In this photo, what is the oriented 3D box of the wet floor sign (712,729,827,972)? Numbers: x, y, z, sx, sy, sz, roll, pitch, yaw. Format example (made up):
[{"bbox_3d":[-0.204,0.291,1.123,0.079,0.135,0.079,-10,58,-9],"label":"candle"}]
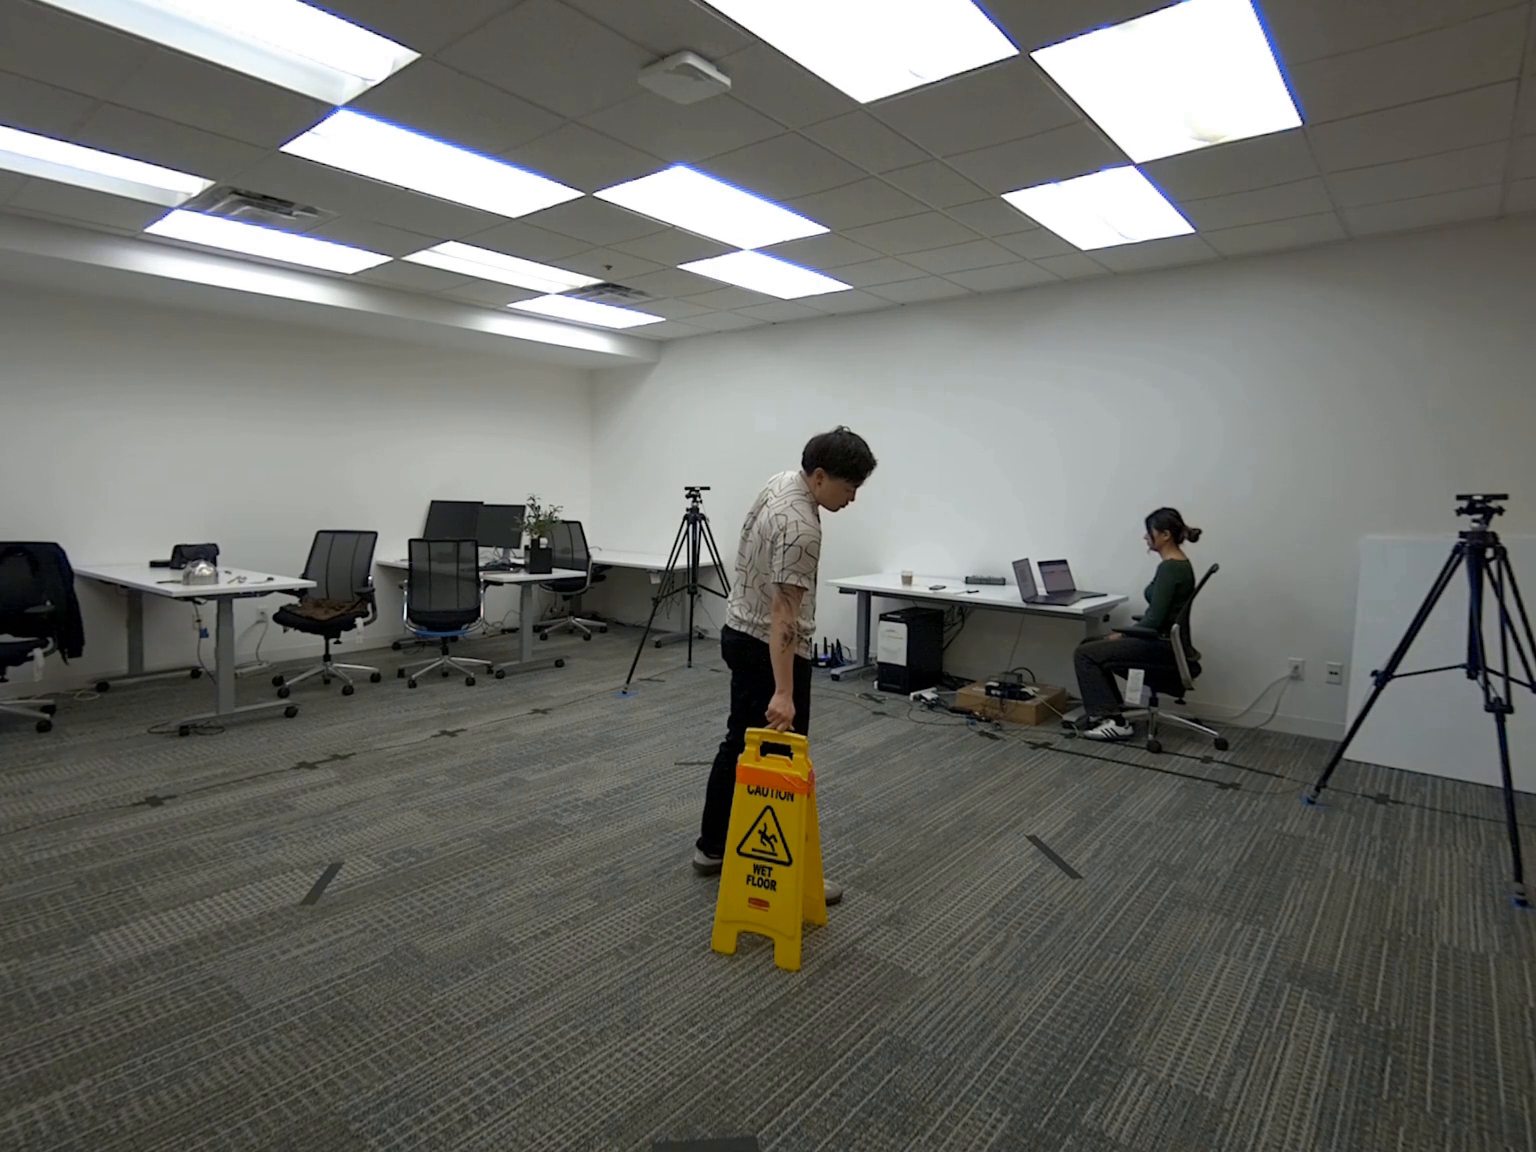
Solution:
[{"bbox_3d":[0.010,0.791,2.626,0.289,0.644,0.284,4,3,22],"label":"wet floor sign"}]
